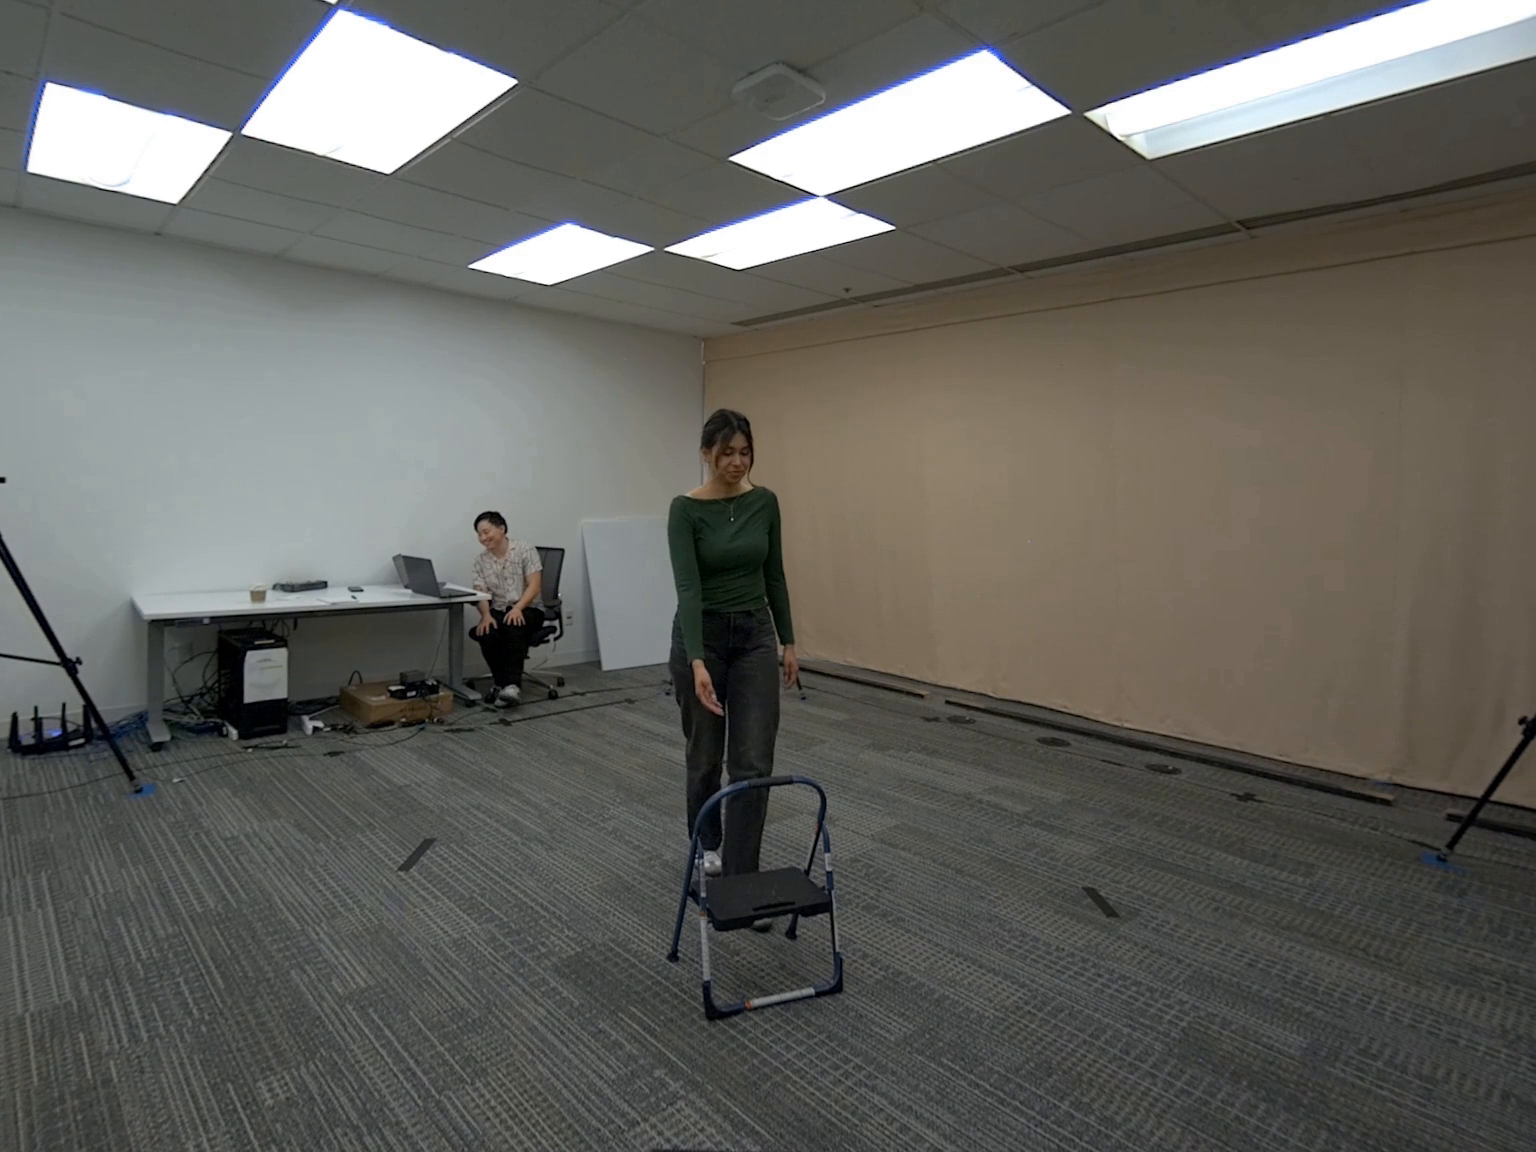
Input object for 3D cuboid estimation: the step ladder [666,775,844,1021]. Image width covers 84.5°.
[{"bbox_3d":[-0.038,0.865,2.442,0.423,0.605,0.356,0,4,-24],"label":"step ladder"}]
